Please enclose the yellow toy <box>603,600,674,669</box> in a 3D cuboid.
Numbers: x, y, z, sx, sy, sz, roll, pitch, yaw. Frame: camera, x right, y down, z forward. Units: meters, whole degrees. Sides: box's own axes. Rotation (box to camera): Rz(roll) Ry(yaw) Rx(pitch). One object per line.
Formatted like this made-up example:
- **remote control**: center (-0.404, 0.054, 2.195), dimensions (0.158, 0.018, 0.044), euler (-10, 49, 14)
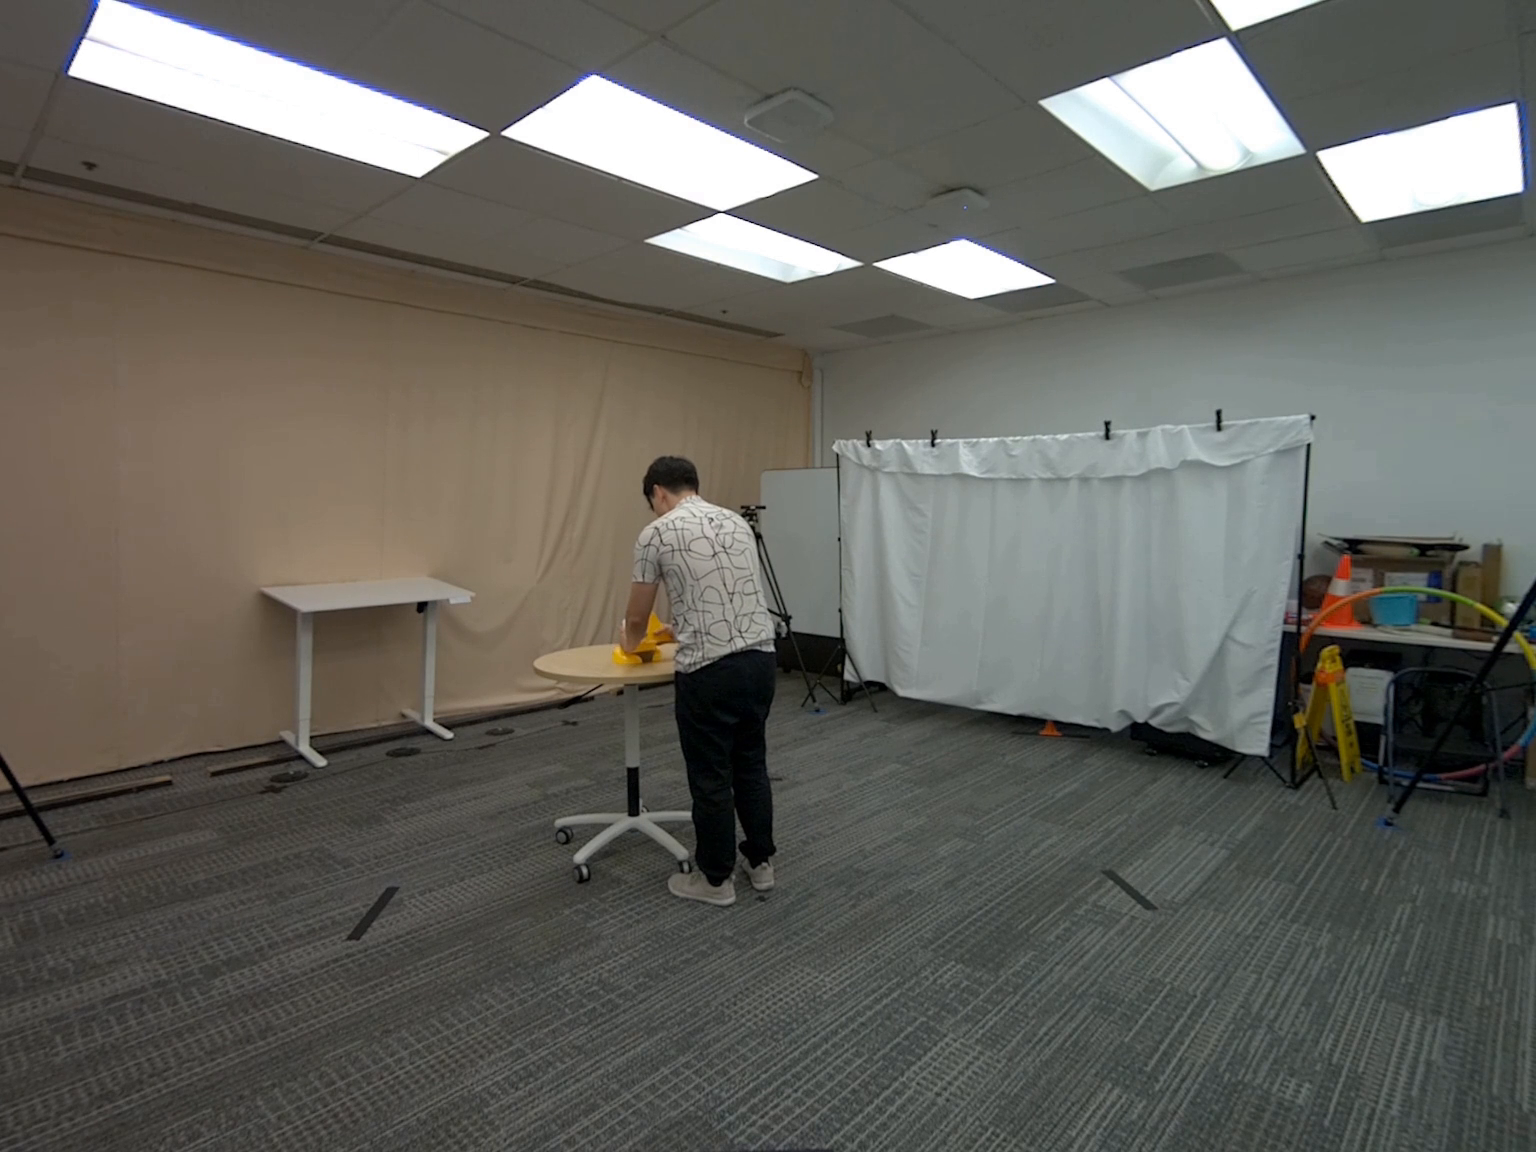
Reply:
- **yellow toy**: center (-0.514, 0.221, 3.348), dimensions (0.199, 0.230, 0.199), euler (-3, 4, -37)
